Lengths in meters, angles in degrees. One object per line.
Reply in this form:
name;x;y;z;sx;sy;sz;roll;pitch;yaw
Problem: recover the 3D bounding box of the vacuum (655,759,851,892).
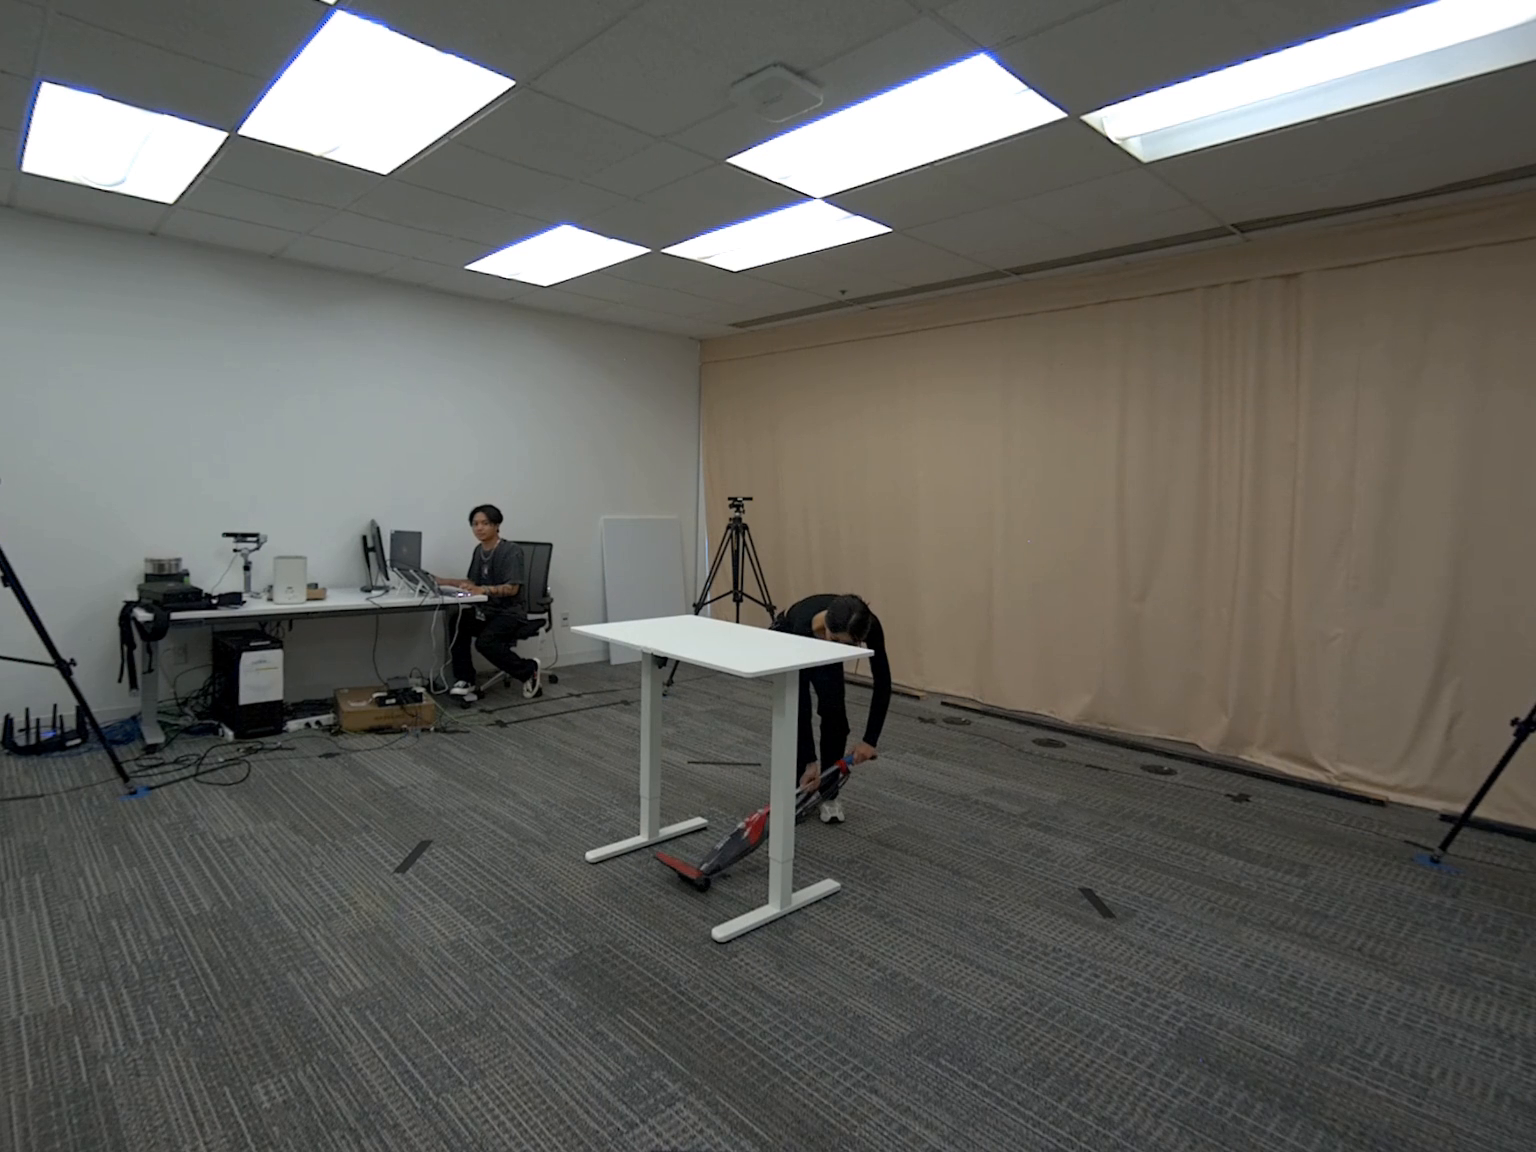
vacuum;0.067;0.929;3.308;1.033;0.143;0.258;-19;13;-38
